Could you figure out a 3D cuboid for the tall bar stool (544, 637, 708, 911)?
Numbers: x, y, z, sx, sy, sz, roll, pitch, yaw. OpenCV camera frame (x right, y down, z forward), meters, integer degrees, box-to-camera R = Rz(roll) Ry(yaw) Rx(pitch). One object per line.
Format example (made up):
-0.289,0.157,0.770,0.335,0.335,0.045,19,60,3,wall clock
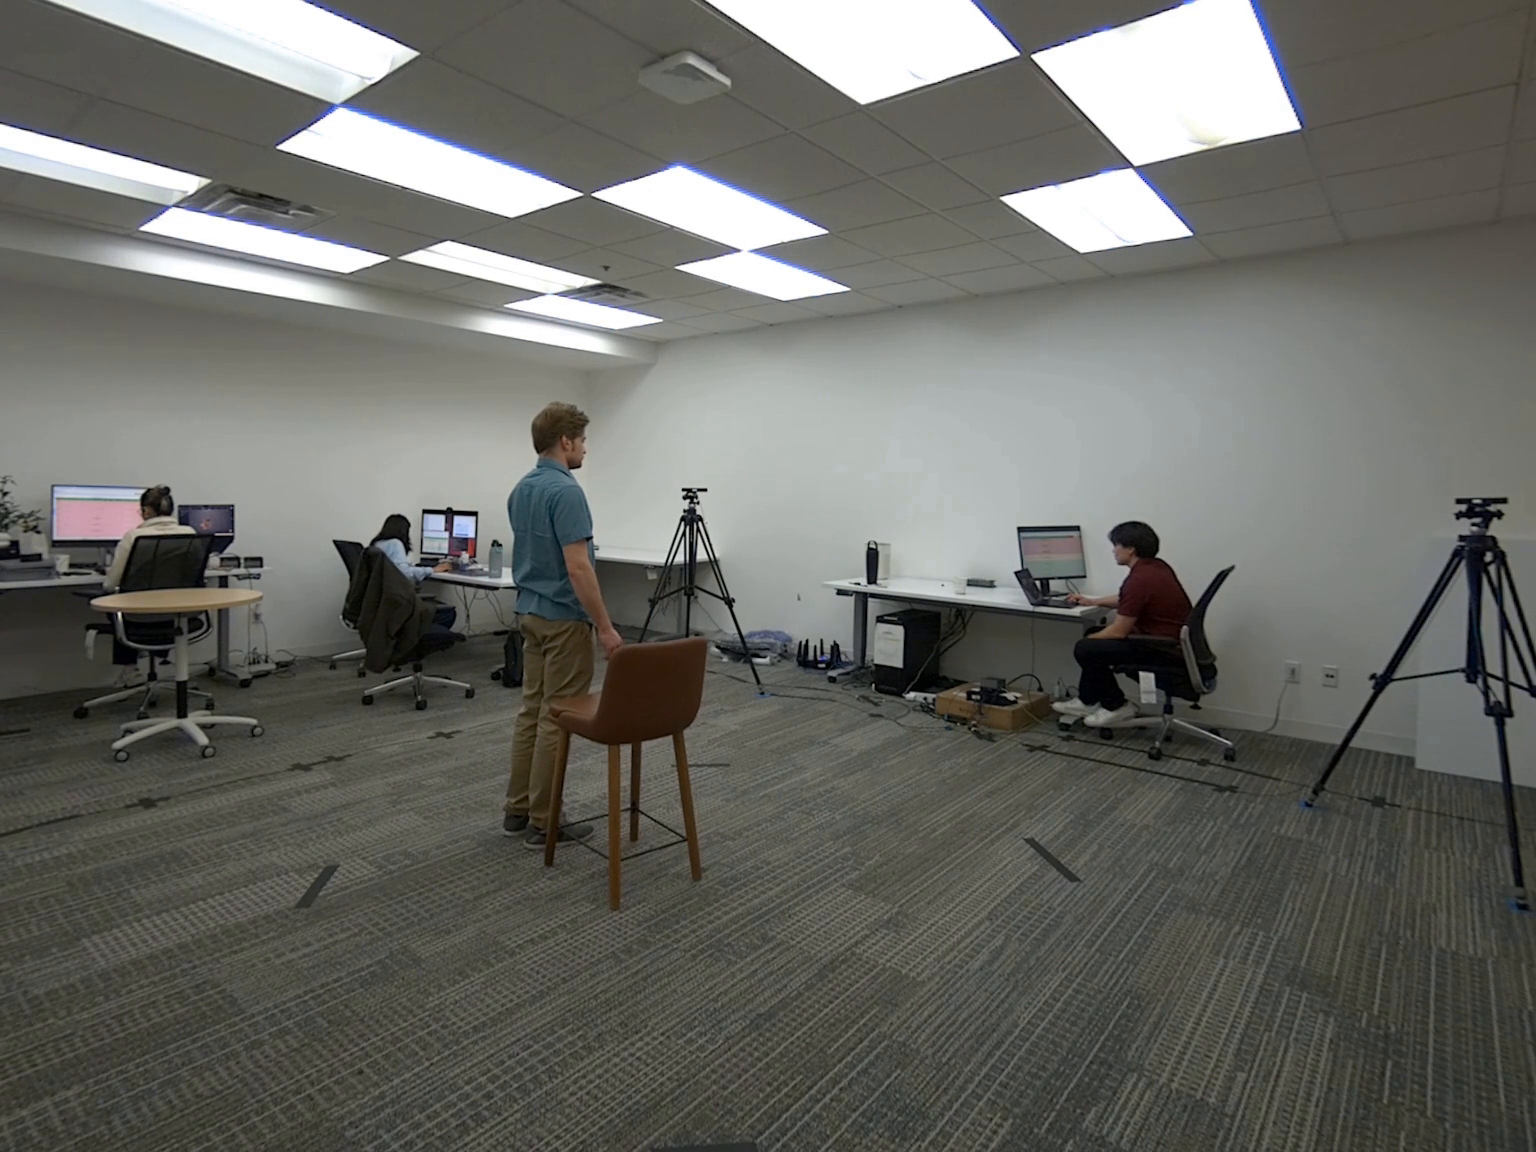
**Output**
-0.516,0.635,3.054,0.442,0.886,0.484,-1,6,-42,tall bar stool
